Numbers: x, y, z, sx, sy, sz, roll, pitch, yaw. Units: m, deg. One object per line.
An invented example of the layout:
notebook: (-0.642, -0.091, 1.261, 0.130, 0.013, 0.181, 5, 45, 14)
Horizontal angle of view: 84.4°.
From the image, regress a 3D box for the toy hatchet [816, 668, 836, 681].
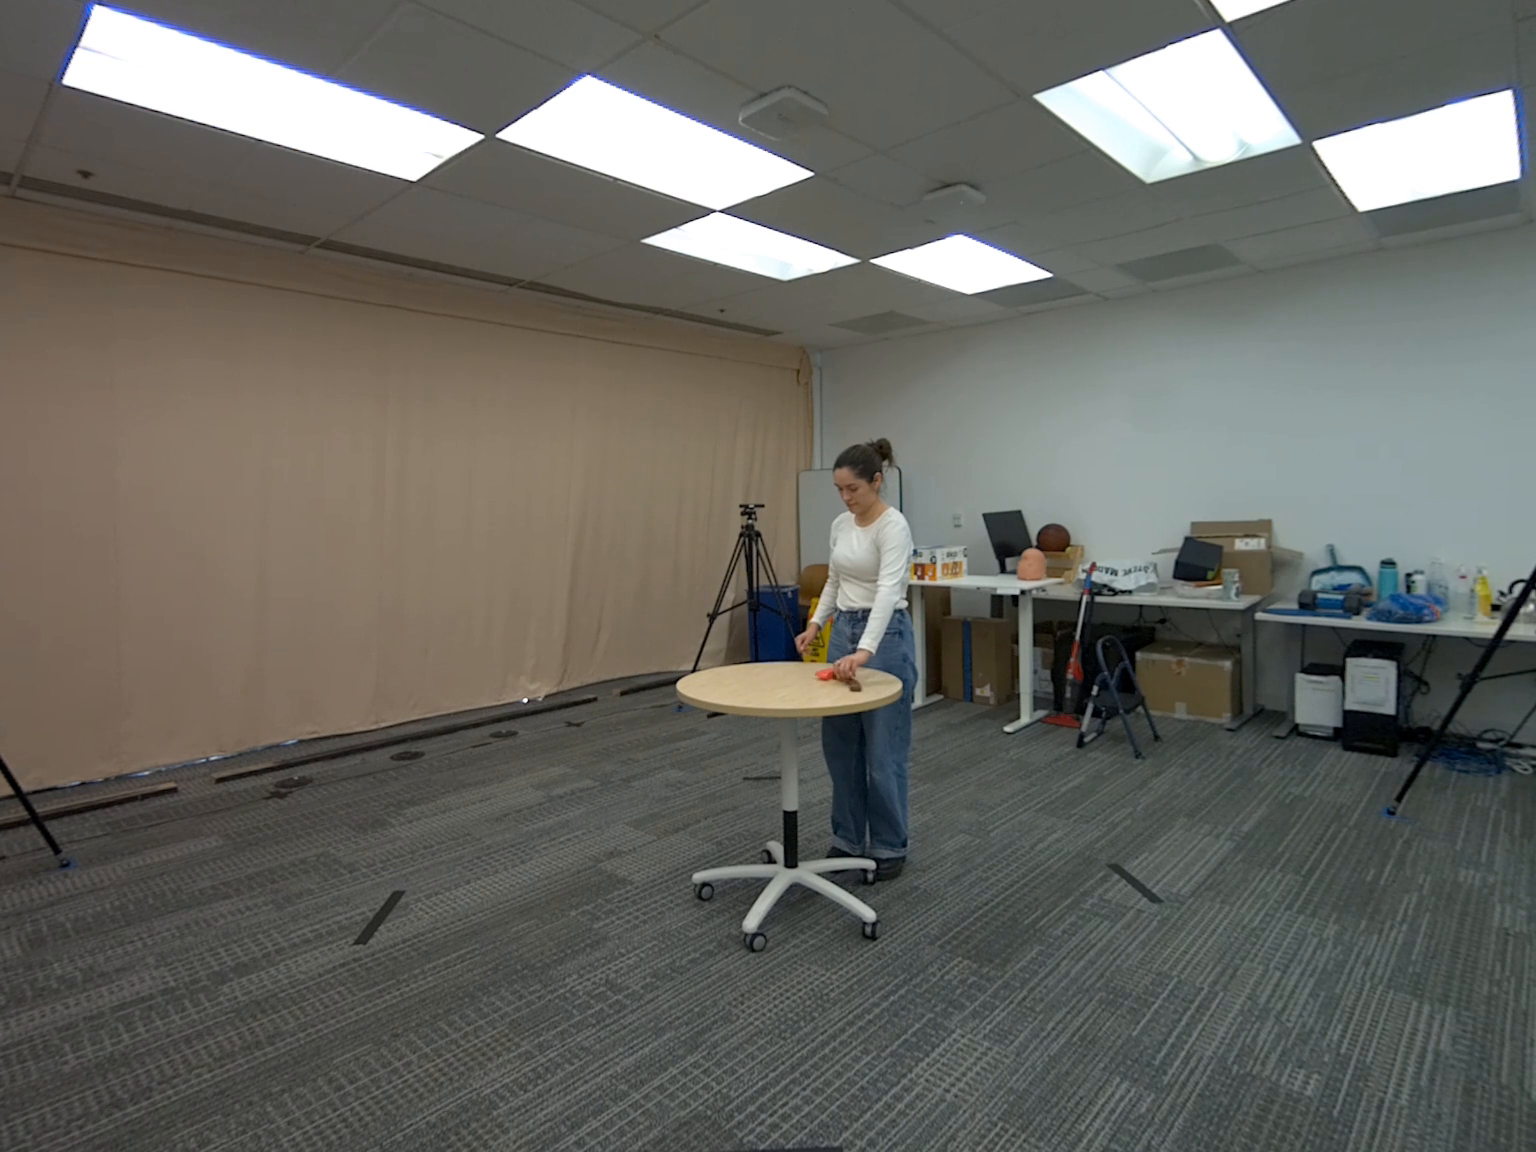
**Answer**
toy hatchet: (0.232, 0.349, 2.843, 0.131, 0.029, 0.270, 0, 6, 1)
